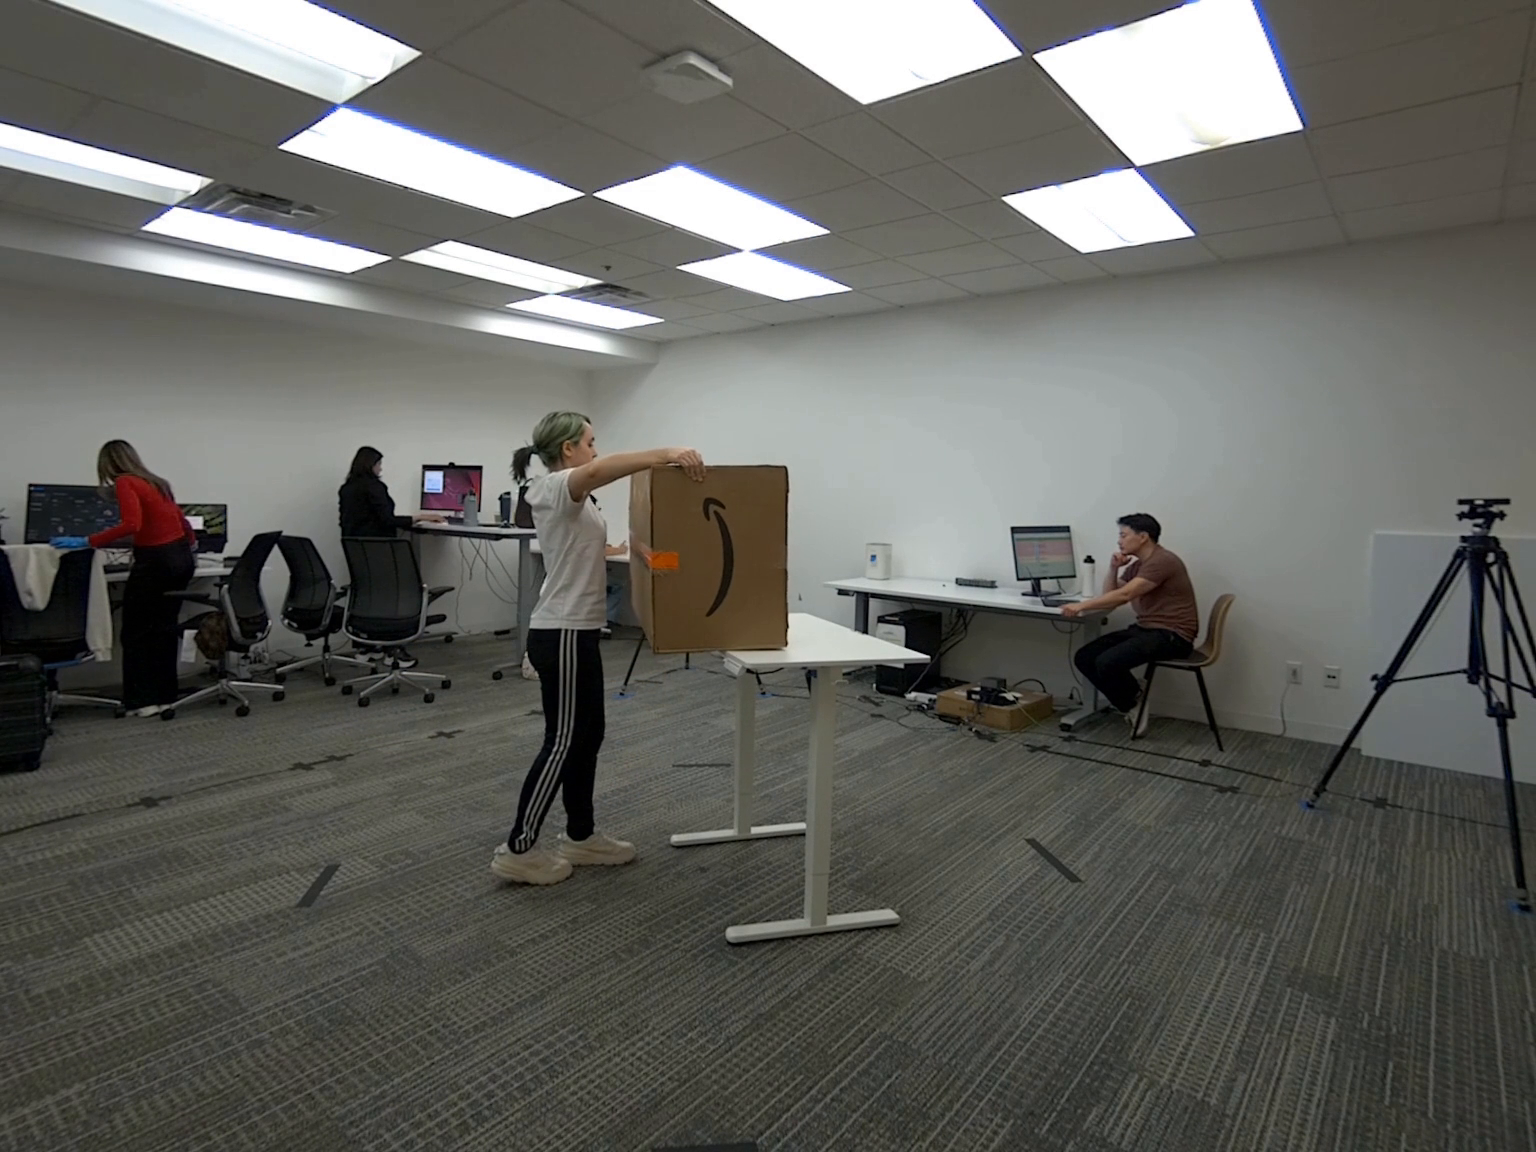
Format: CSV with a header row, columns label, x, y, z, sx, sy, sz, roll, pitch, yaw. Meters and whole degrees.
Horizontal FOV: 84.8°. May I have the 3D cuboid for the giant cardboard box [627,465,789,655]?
label,x,y,z,sx,sy,sz,roll,pitch,yaw
giant cardboard box,-0.268,-0.113,3.122,0.441,0.582,1.043,-2,5,-13
